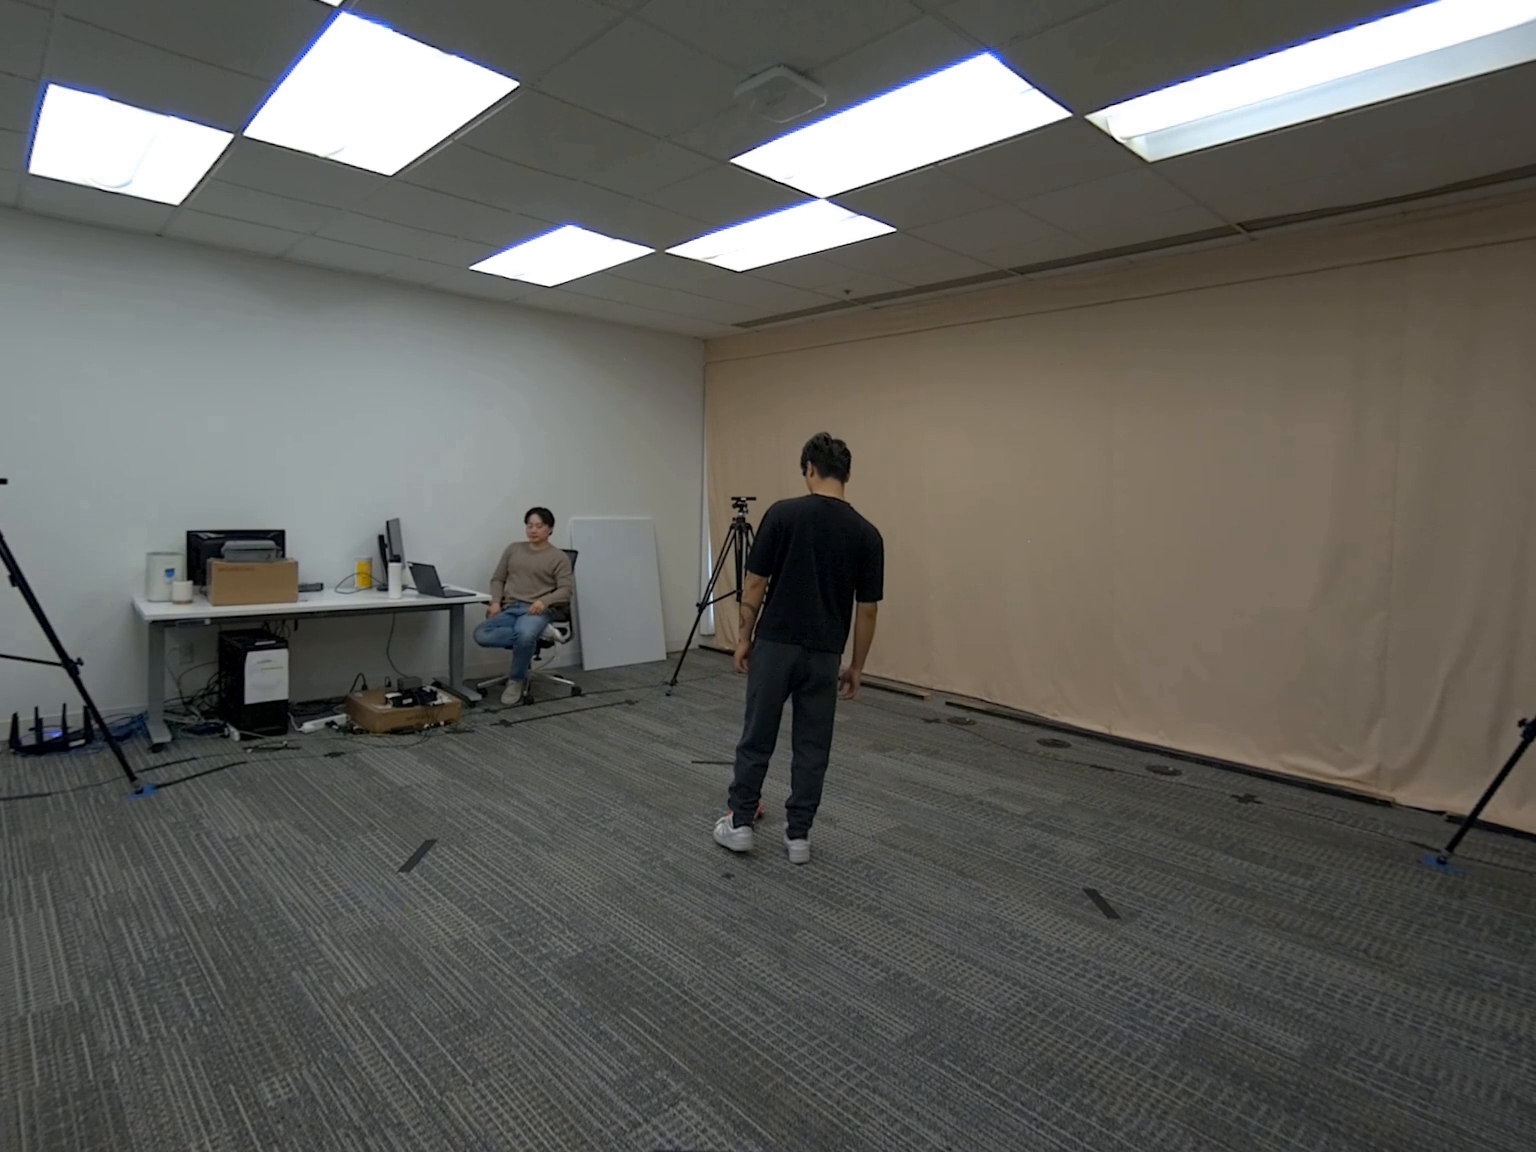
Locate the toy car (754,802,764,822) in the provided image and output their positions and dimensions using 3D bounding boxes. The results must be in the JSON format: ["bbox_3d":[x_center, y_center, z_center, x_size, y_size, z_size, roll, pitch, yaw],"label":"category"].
[{"bbox_3d":[-0.107,1.036,3.622,0.132,0.083,0.250,3,-6,16],"label":"toy car"}]
